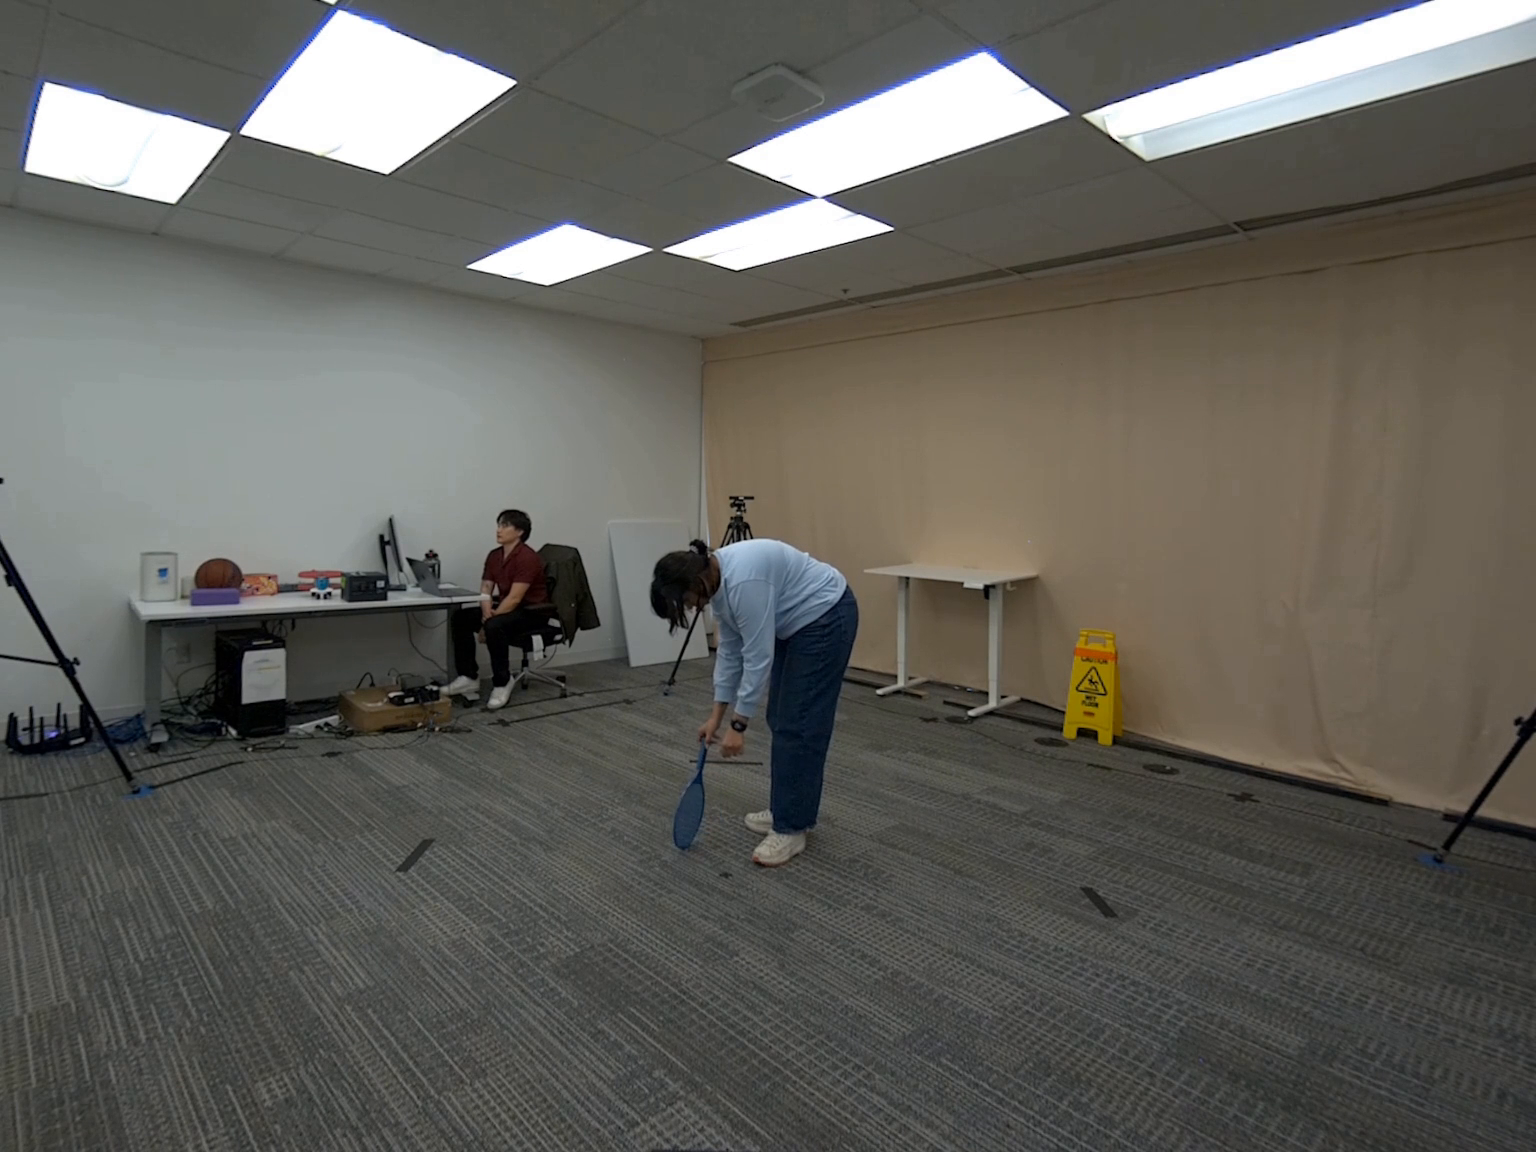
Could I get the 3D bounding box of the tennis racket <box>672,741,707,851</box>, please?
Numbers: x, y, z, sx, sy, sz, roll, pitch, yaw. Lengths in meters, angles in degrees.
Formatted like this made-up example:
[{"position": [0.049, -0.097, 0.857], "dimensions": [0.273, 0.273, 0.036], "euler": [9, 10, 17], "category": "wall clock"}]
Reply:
[{"position": [-0.301, 0.864, 3.353], "dimensions": [0.032, 0.435, 0.208], "euler": [3, -9, 26], "category": "tennis racket"}]
